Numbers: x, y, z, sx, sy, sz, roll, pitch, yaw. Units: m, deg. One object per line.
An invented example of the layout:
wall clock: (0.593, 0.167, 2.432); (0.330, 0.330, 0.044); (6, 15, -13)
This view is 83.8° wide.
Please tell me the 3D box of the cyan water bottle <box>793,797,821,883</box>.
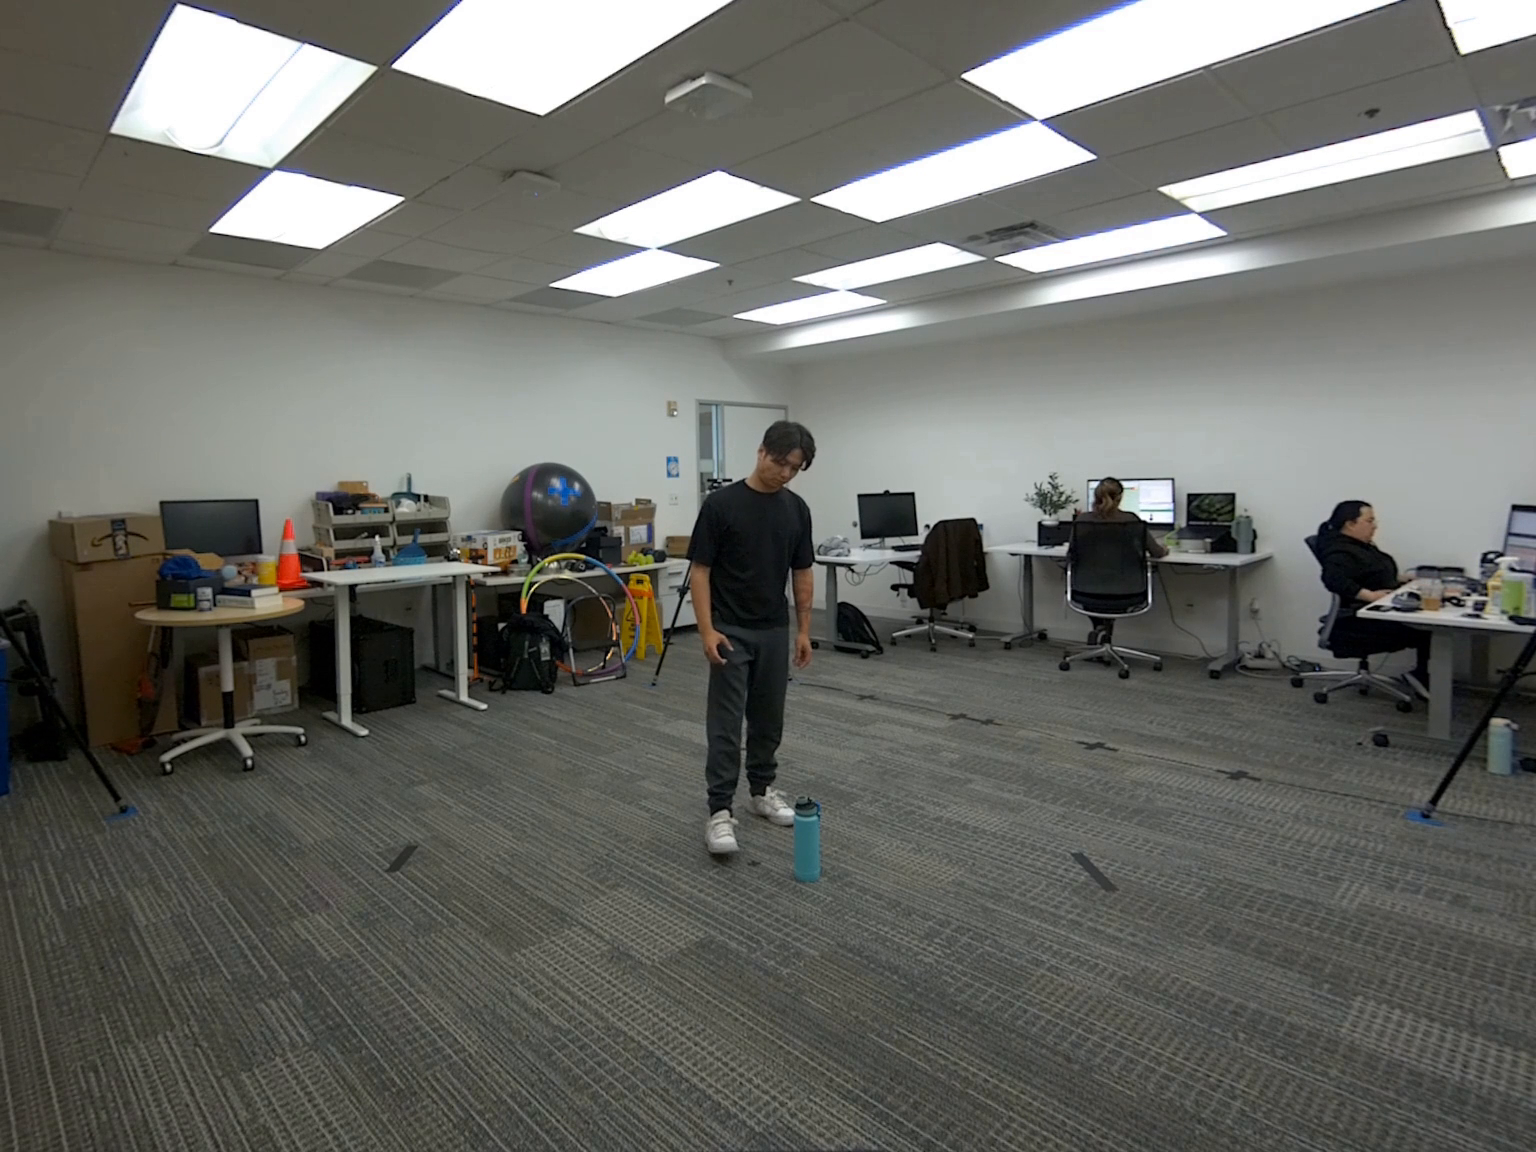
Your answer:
cyan water bottle: (0.146, 0.916, 2.988); (0.092, 0.282, 0.093); (0, 3, -2)
